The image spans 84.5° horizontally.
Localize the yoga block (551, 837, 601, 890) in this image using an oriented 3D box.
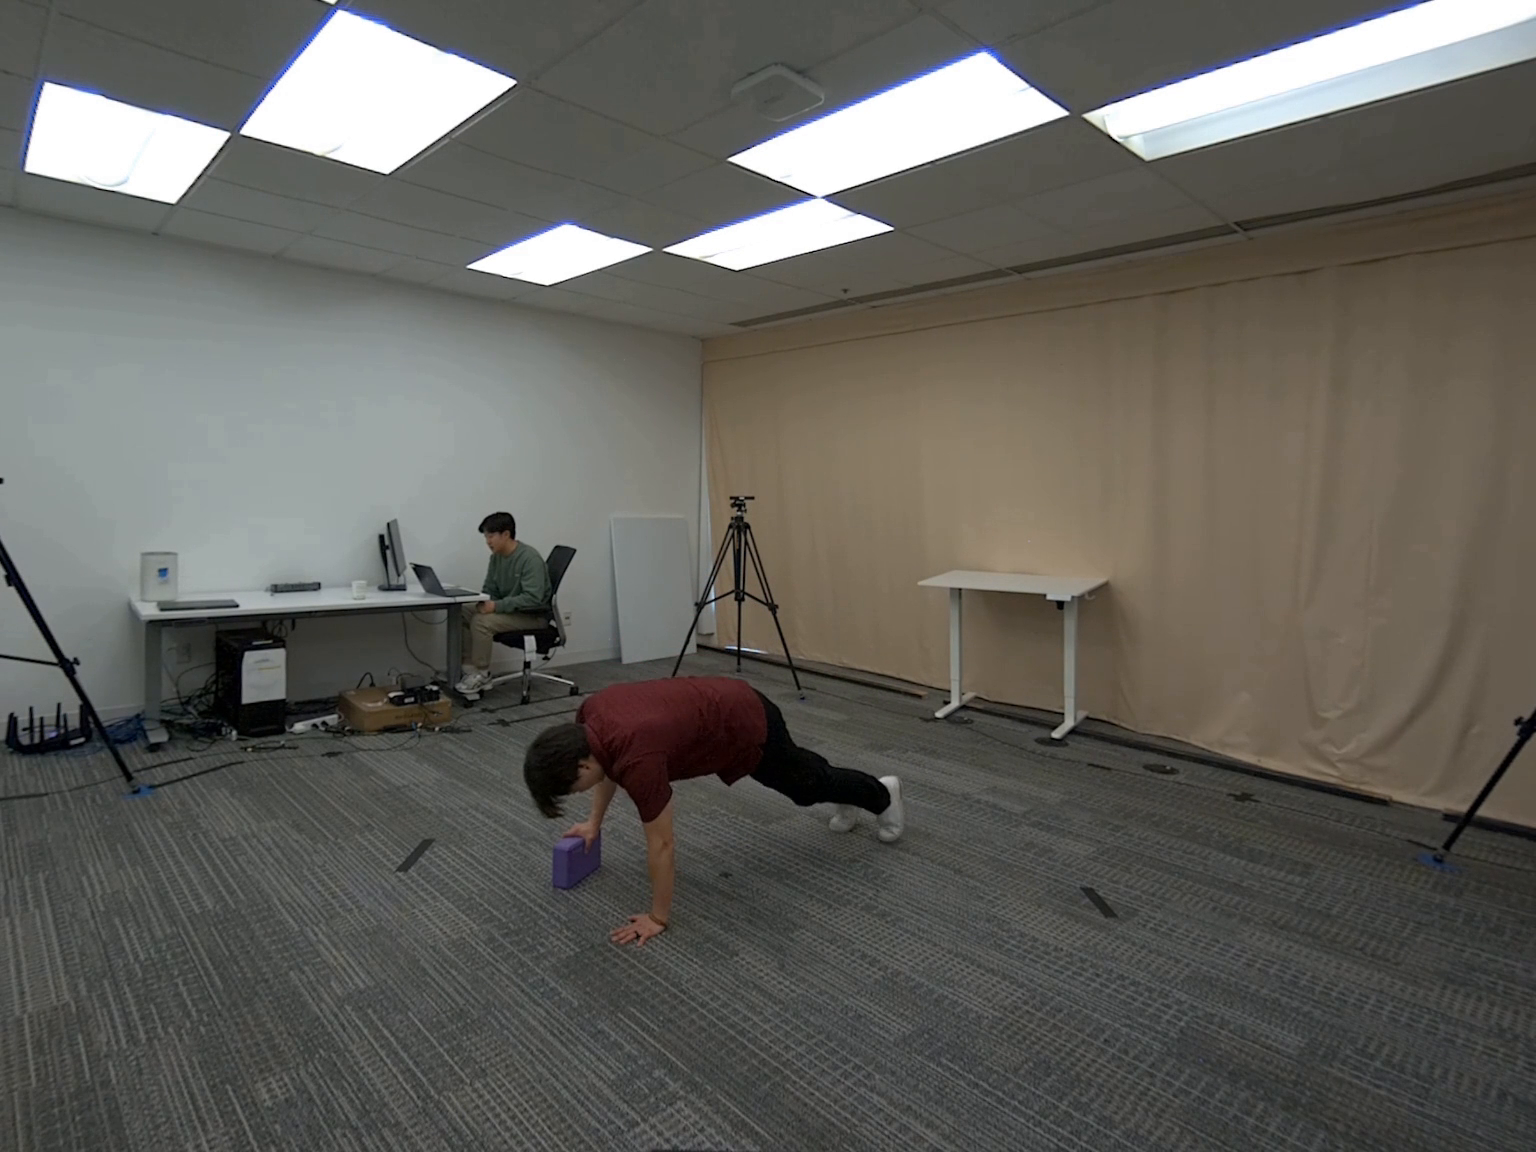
[{"bbox_3d":[-0.697,1.019,3.062,0.077,0.149,0.226,4,3,18],"label":"yoga block"}]
